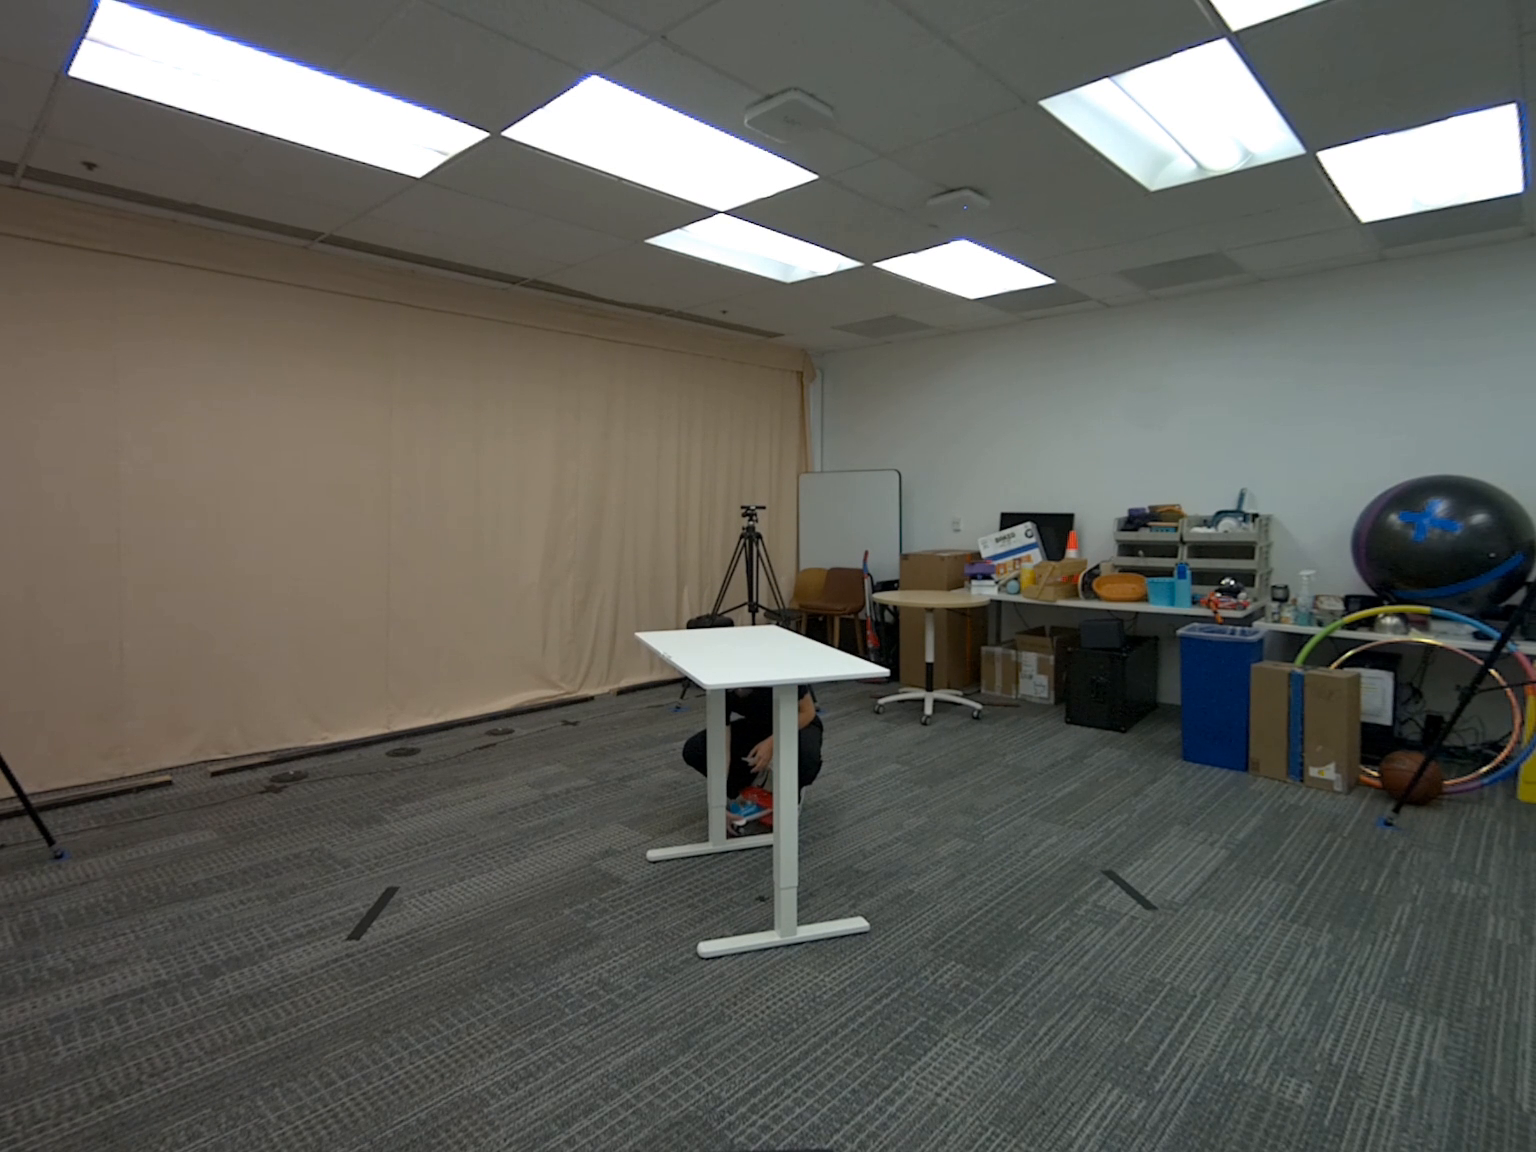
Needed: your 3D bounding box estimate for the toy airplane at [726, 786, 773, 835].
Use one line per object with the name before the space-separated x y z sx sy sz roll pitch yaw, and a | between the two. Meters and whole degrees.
toy airplane | -0.043 1.008 3.591 0.258 0.156 0.252 6 1 25
